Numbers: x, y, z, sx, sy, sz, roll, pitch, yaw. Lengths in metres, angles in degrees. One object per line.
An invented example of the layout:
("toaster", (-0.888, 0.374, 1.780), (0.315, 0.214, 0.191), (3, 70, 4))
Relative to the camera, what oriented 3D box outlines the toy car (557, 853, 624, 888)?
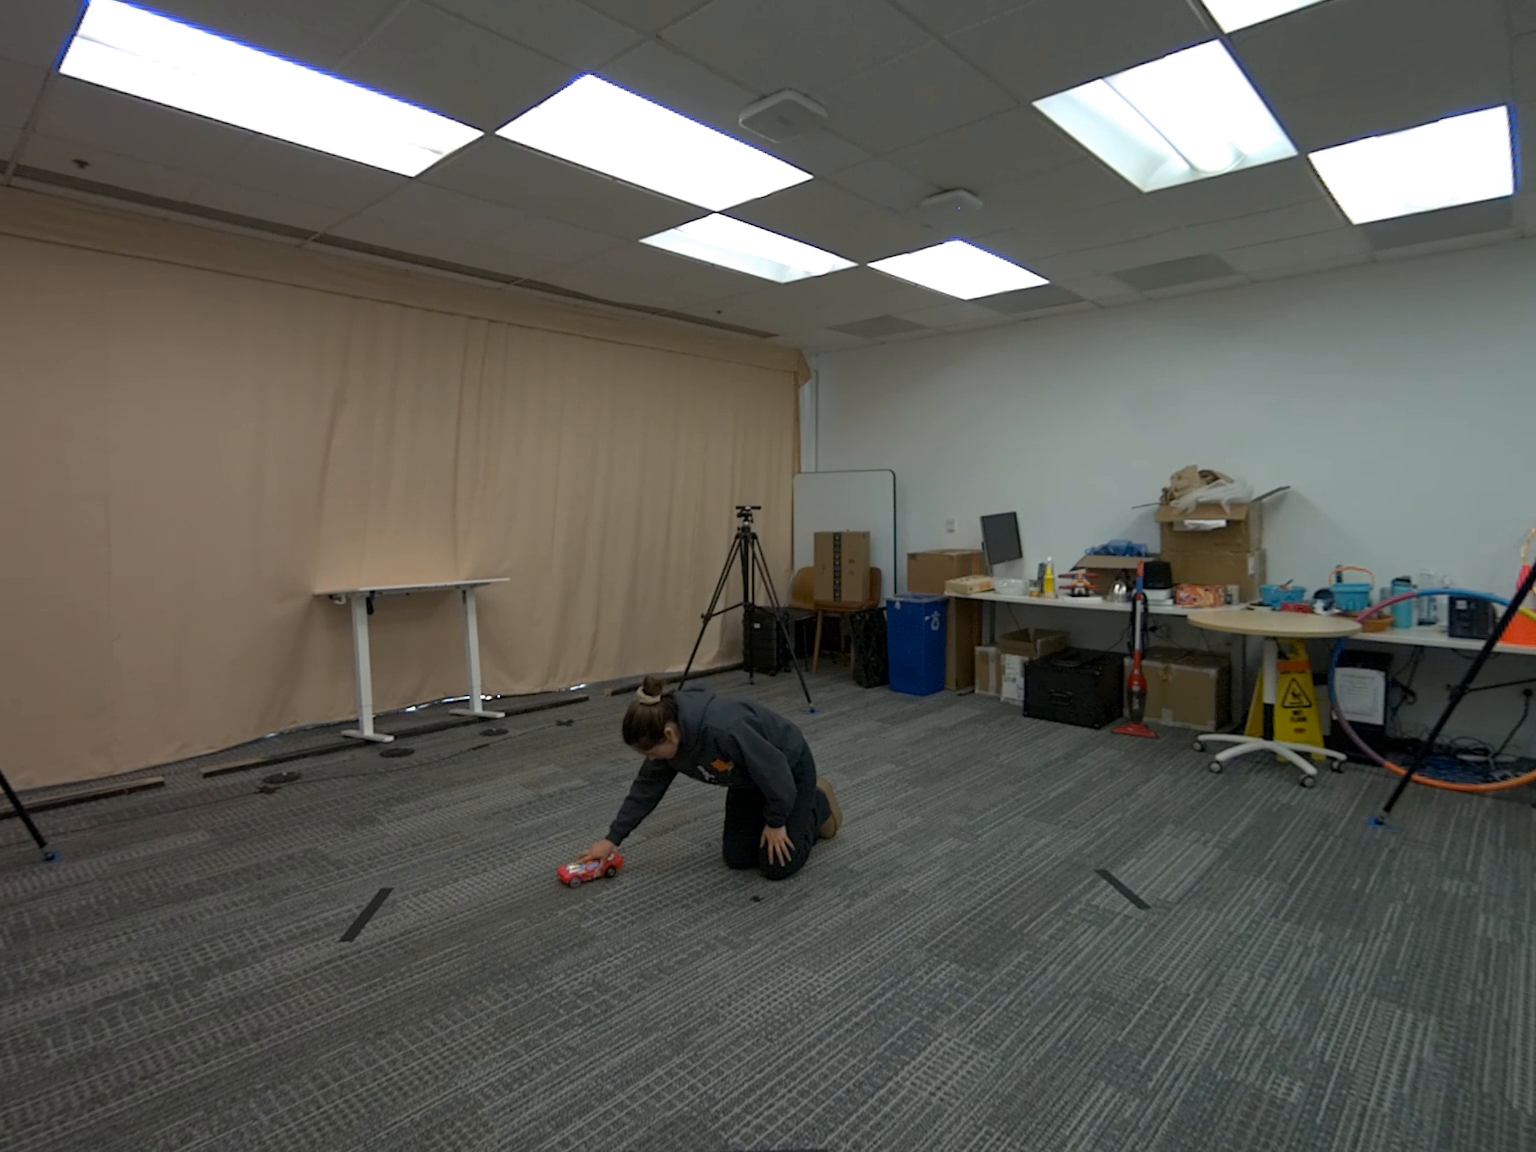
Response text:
("toy car", (-0.639, 1.108, 3.188), (0.249, 0.082, 0.134), (-17, 10, -31))
